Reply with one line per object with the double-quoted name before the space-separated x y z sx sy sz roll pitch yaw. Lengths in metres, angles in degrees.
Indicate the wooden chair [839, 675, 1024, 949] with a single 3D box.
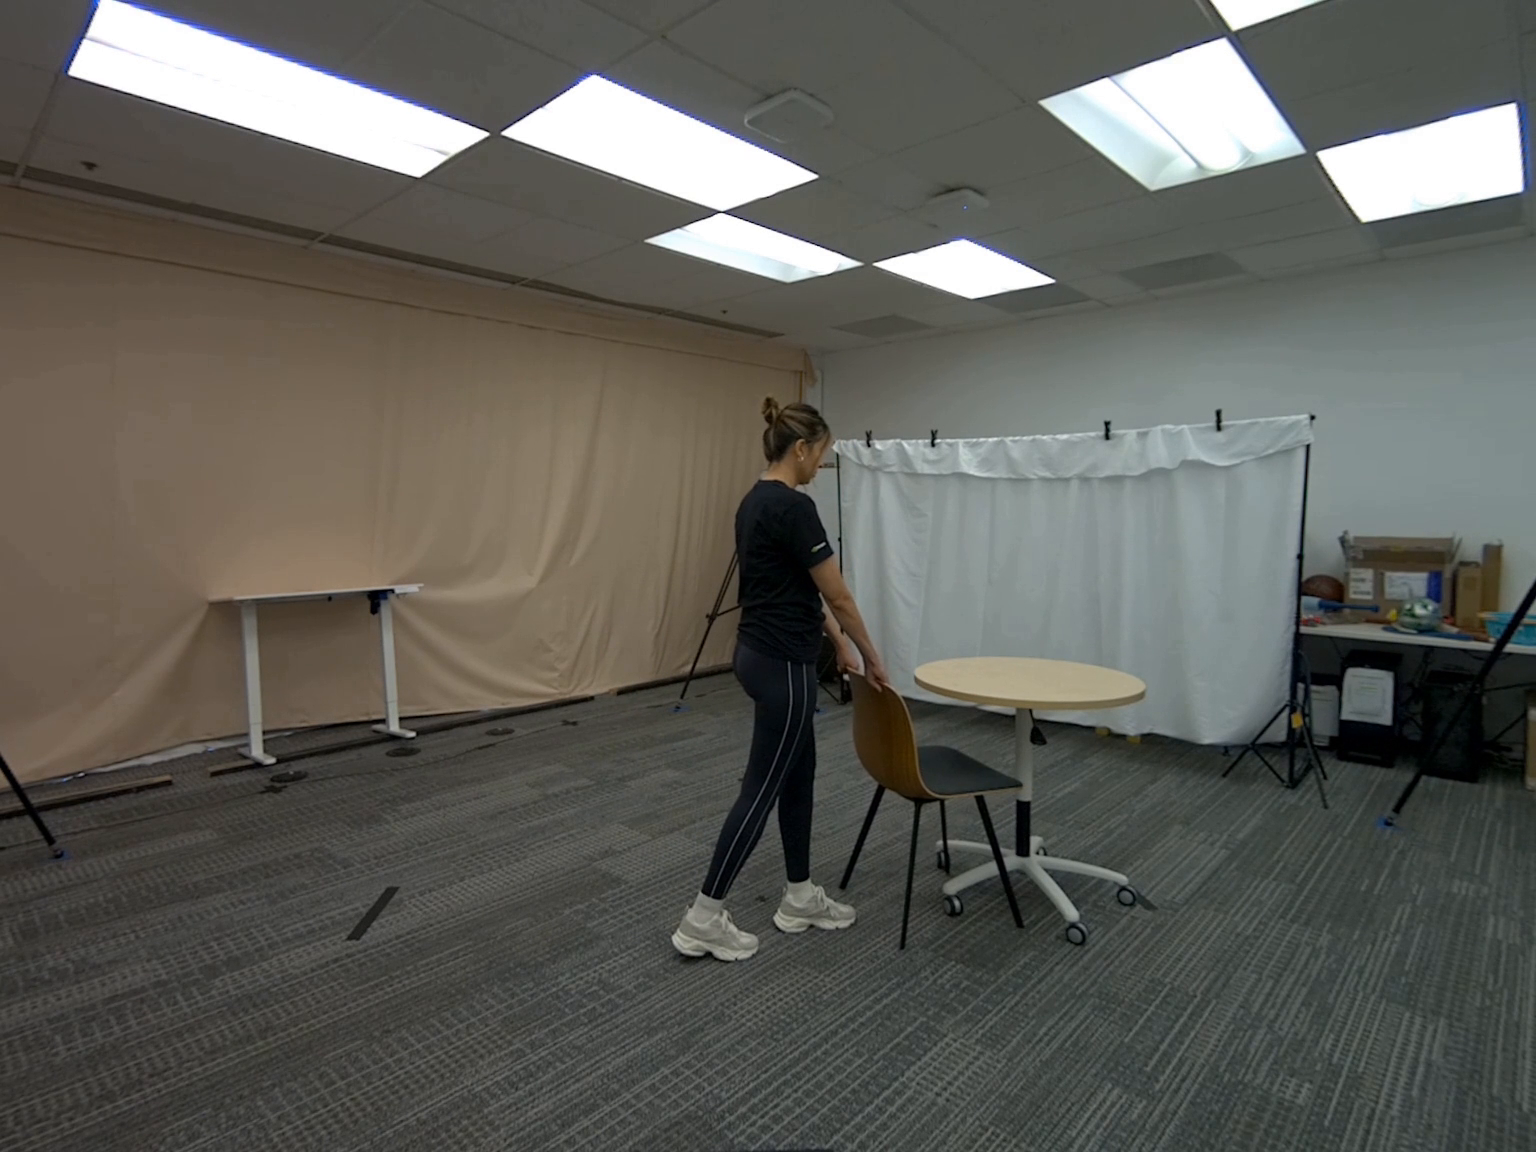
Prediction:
"wooden chair" 0.557 0.722 2.884 0.514 0.875 0.488 -6 4 -19
